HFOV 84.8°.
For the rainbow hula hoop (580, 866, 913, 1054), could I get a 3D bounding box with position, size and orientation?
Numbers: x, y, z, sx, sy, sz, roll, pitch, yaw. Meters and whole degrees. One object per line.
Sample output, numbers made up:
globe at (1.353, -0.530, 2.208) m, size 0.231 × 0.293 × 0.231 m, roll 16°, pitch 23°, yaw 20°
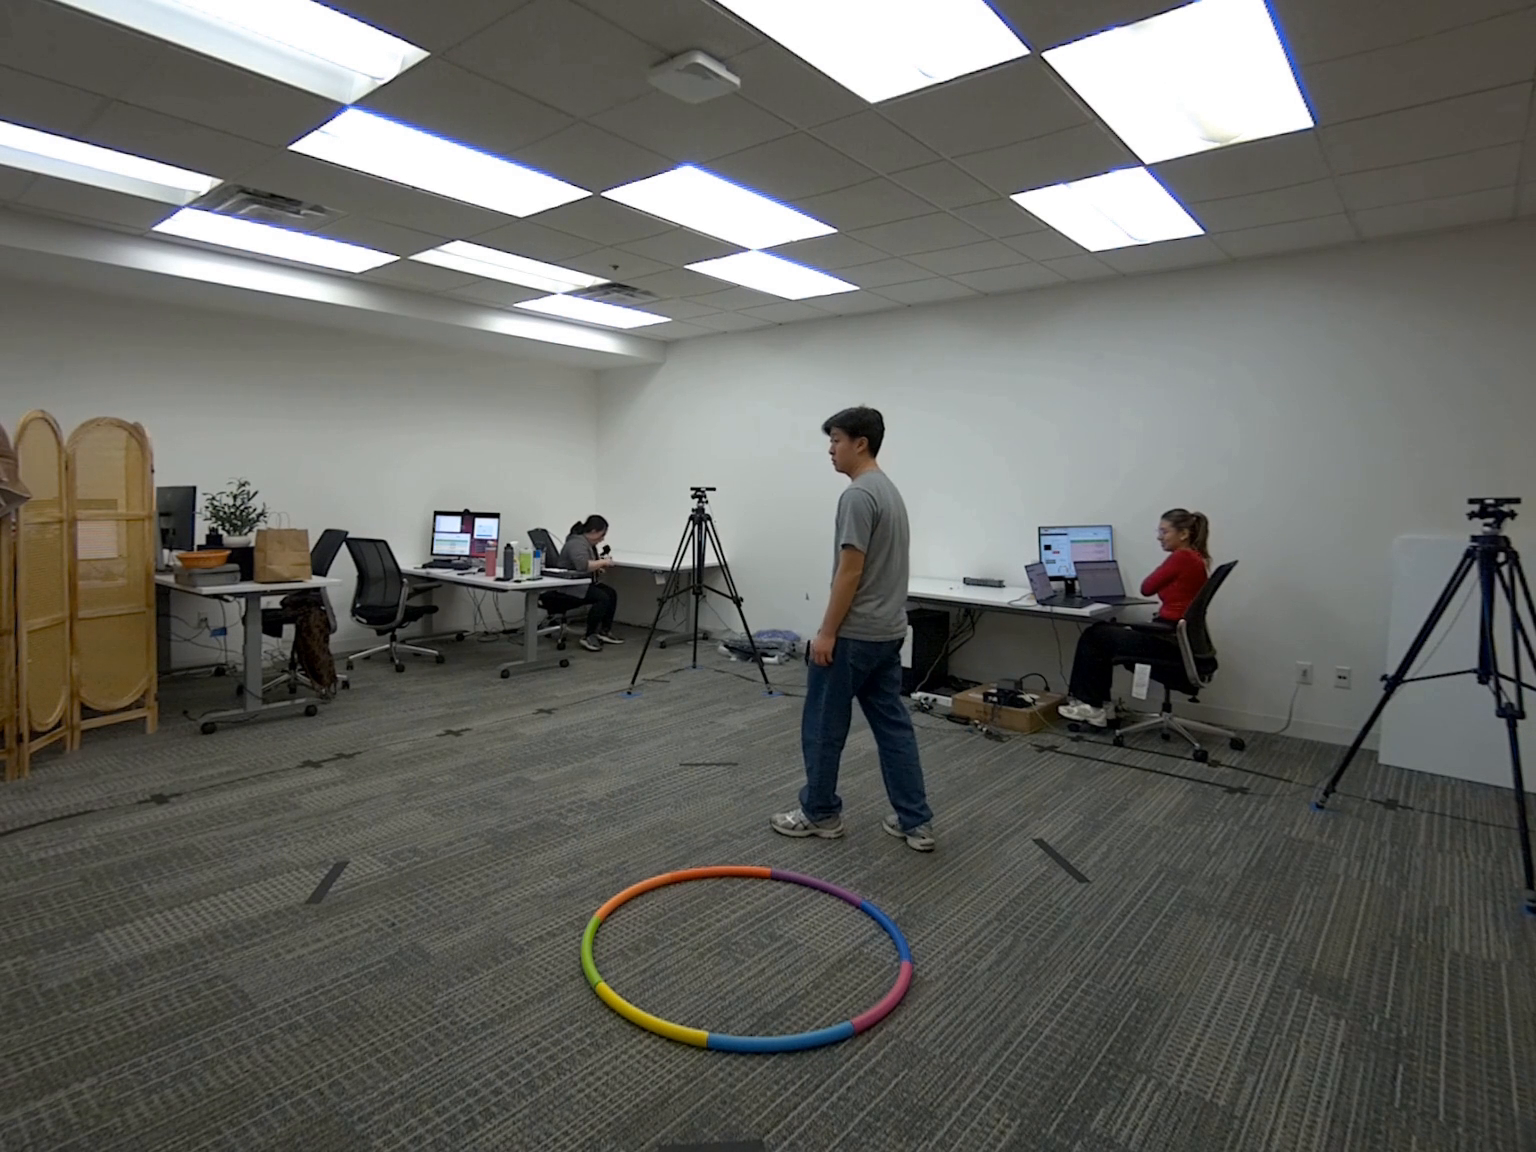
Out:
rainbow hula hoop at (-0.076, 1.089, 2.579) m, size 0.978 × 0.035 × 0.984 m, roll 1°, pitch 6°, yaw -2°
